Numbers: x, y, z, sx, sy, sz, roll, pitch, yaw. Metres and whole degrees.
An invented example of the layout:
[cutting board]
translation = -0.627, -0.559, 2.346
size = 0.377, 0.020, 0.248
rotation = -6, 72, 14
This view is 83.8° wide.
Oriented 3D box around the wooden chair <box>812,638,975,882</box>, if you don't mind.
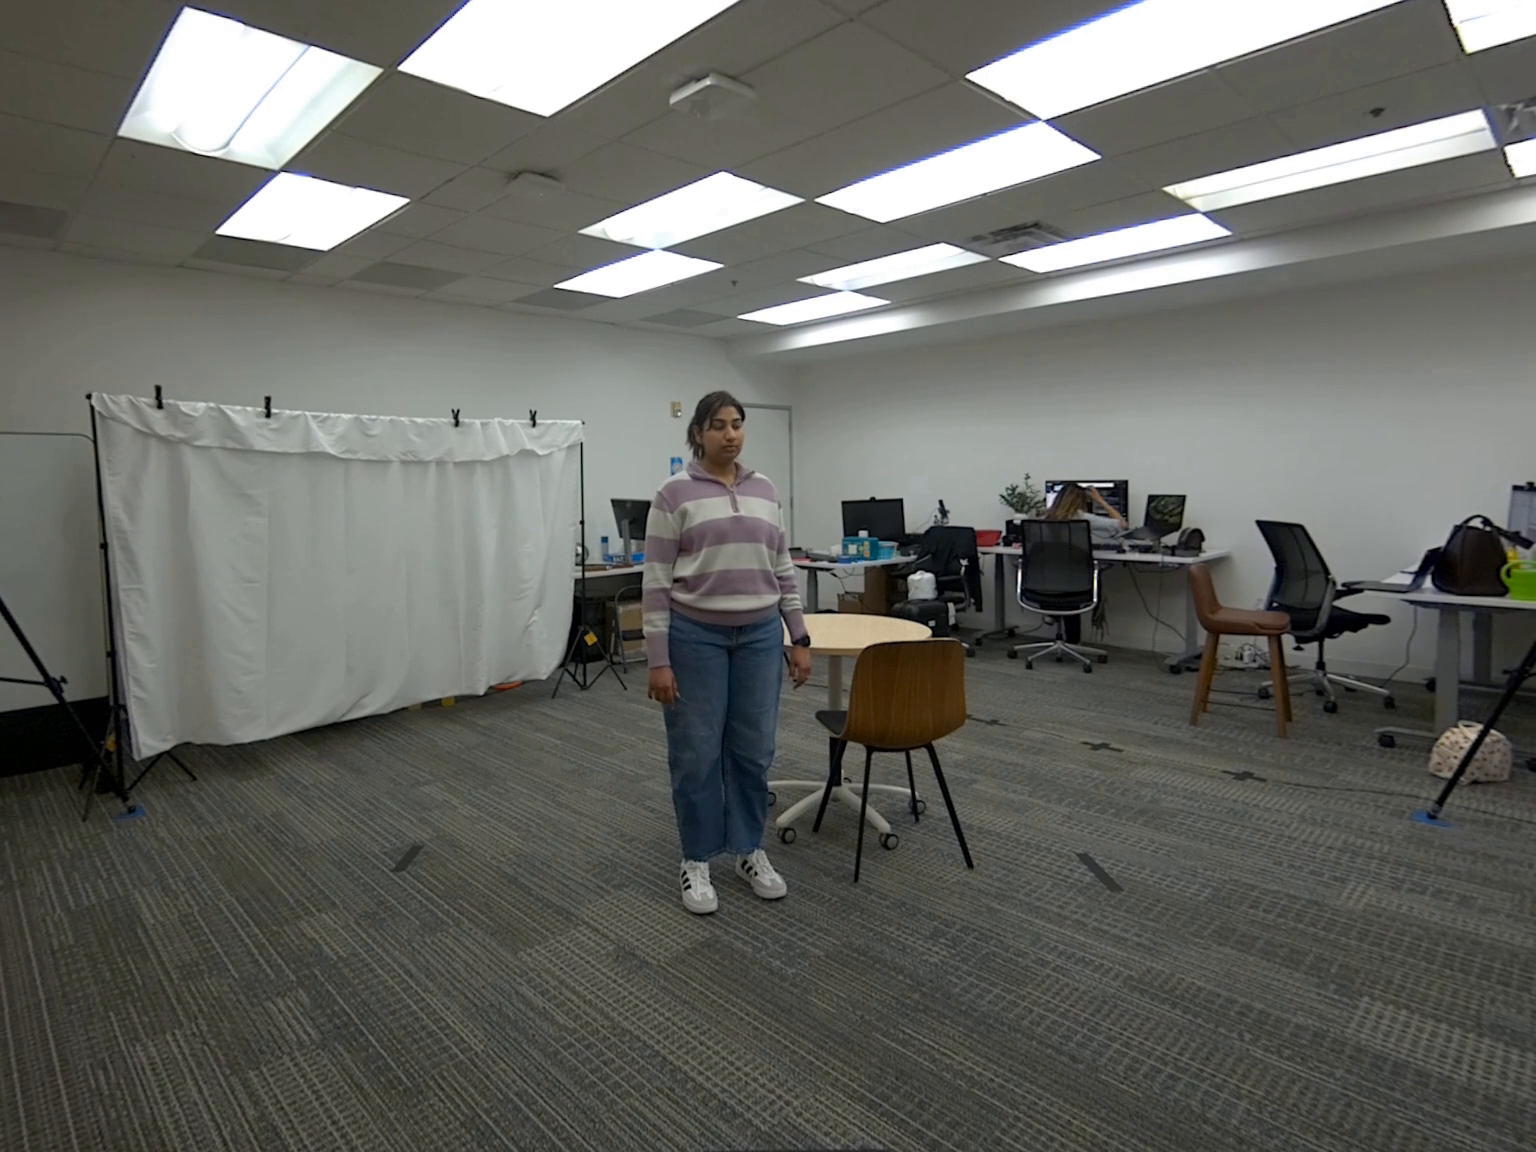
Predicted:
[wooden chair]
translation = 0.446, 0.602, 3.192
size = 0.472, 0.871, 0.534
rotation = -3, 8, -14
